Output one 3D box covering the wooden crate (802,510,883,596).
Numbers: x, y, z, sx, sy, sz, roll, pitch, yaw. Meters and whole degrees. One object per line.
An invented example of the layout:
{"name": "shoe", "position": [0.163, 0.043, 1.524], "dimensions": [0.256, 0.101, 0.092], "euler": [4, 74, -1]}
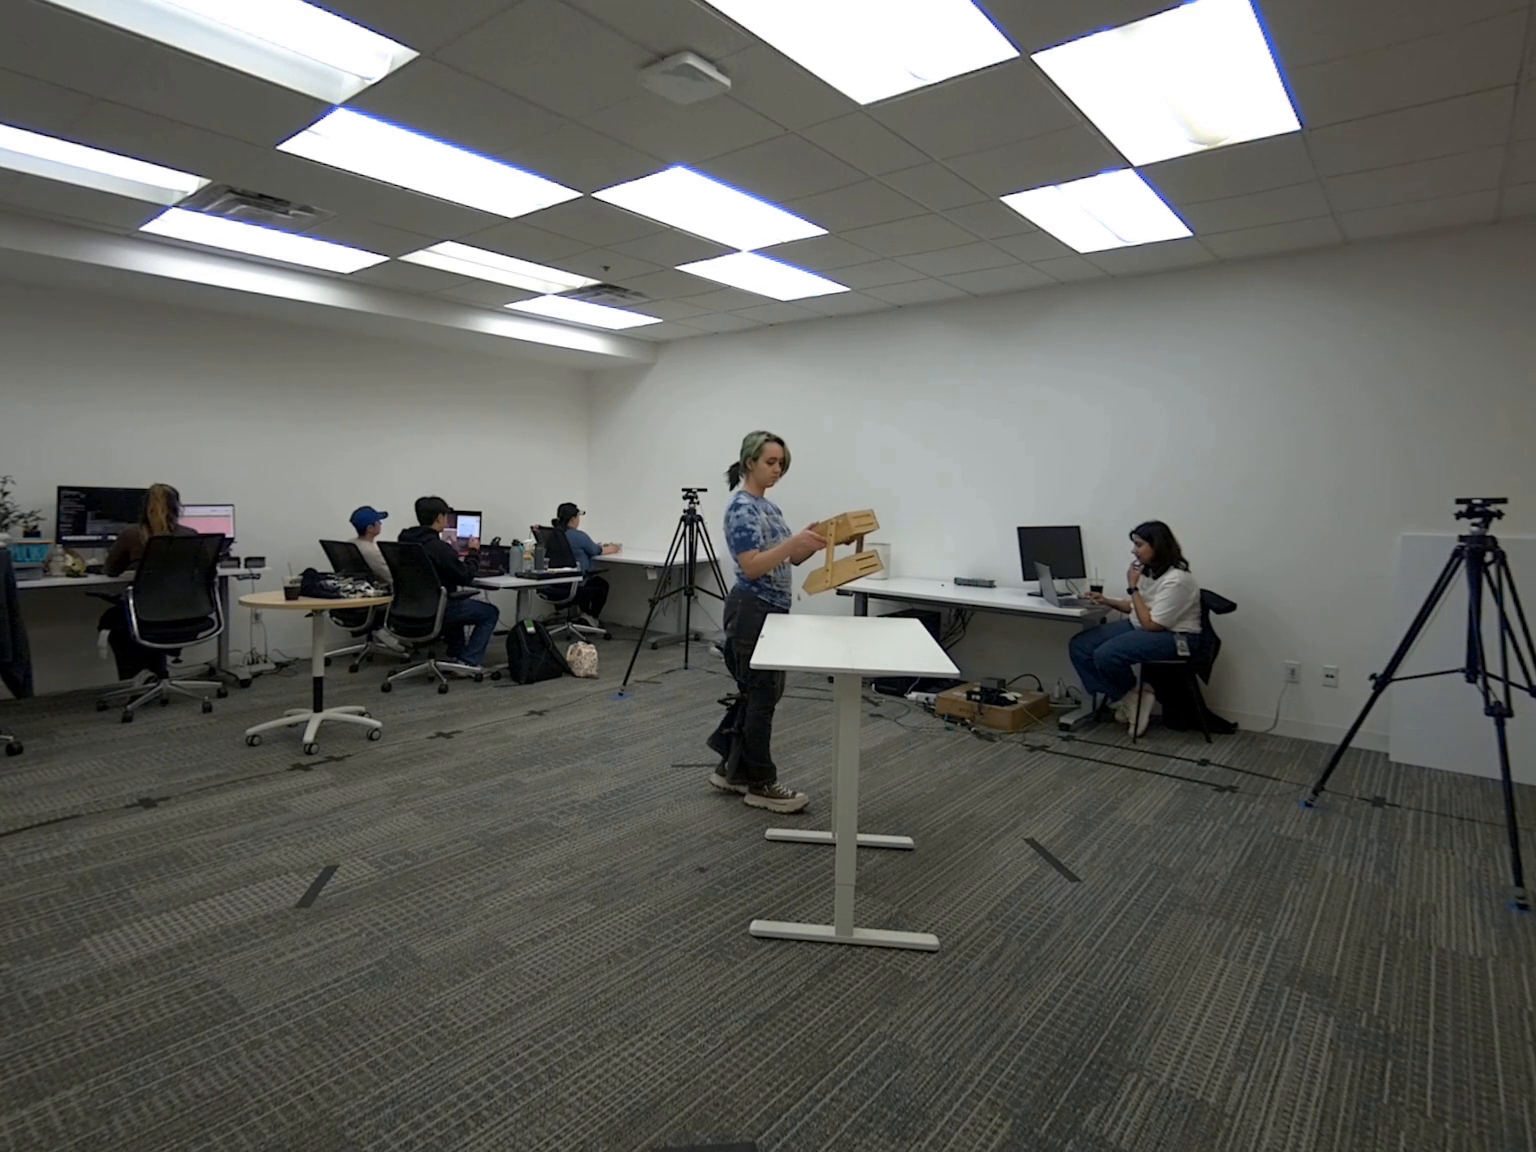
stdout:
{"name": "wooden crate", "position": [0.293, -0.108, 3.608], "dimensions": [0.307, 0.275, 0.317], "euler": [-23, -6, 30]}
